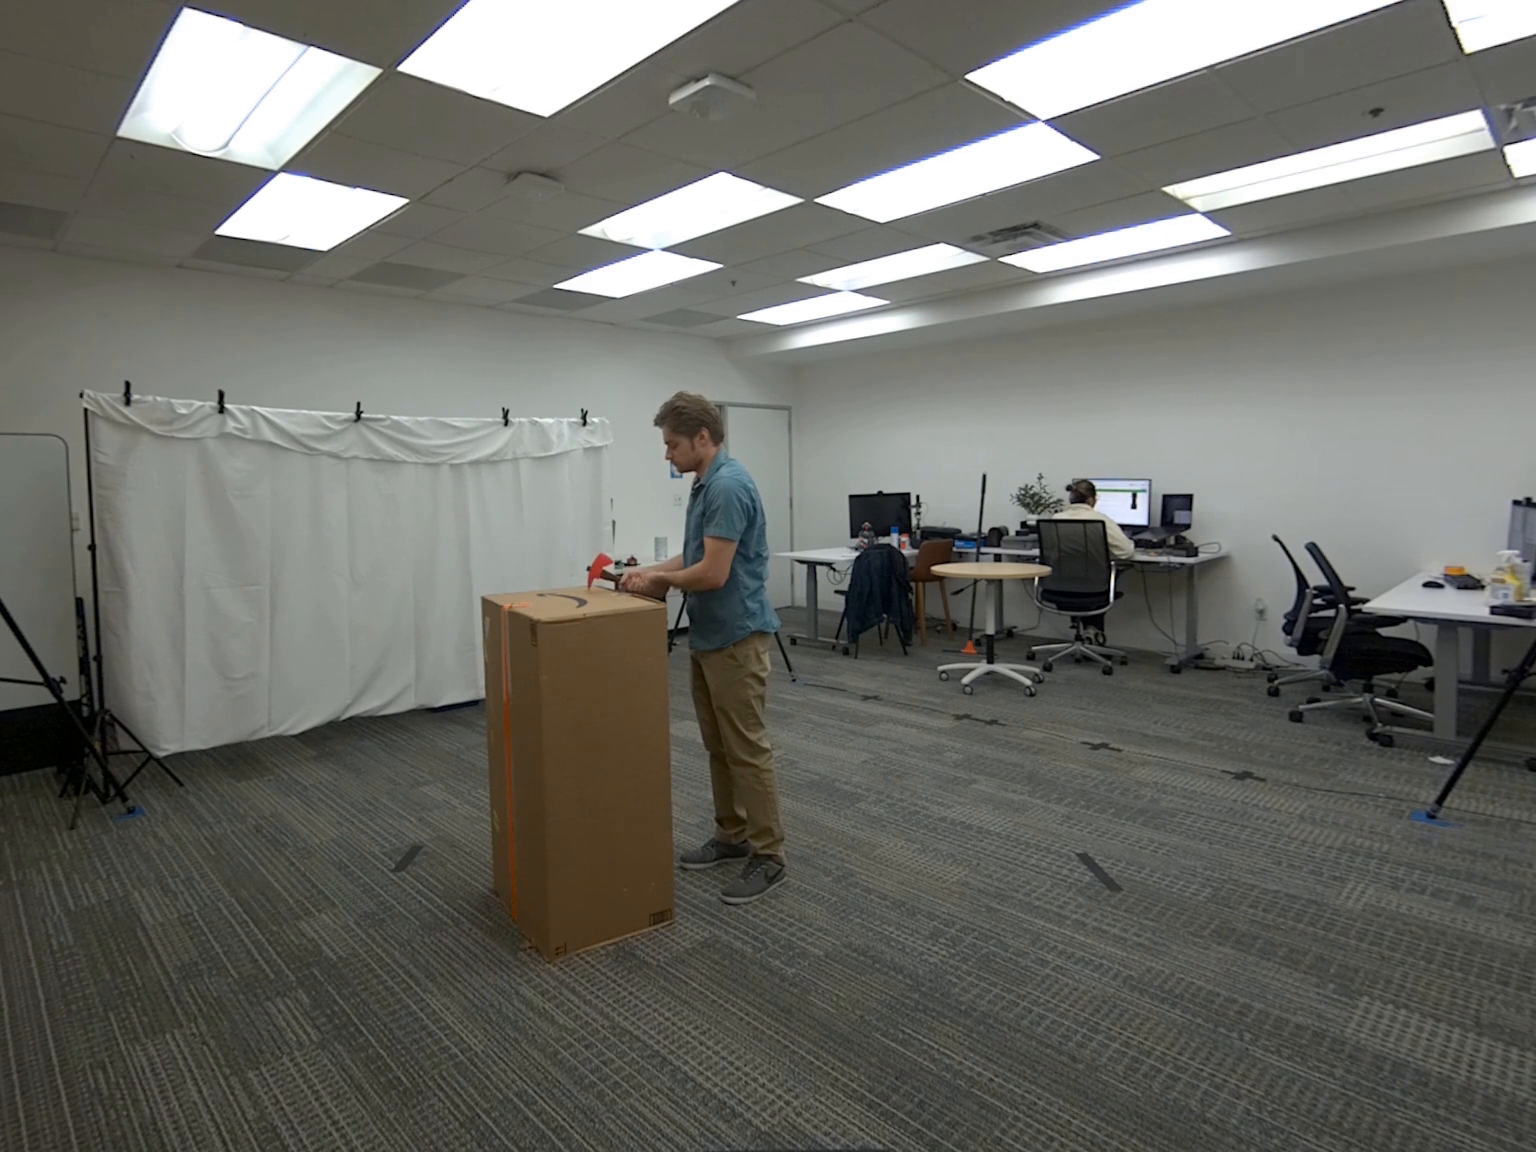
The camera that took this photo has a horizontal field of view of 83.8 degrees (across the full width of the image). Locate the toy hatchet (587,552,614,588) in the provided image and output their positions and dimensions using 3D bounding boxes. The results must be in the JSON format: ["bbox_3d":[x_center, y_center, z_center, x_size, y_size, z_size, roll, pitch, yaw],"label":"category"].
[{"bbox_3d":[-0.493,-0.030,3.006,0.269,0.131,0.030,2,2,-4],"label":"toy hatchet"}]
